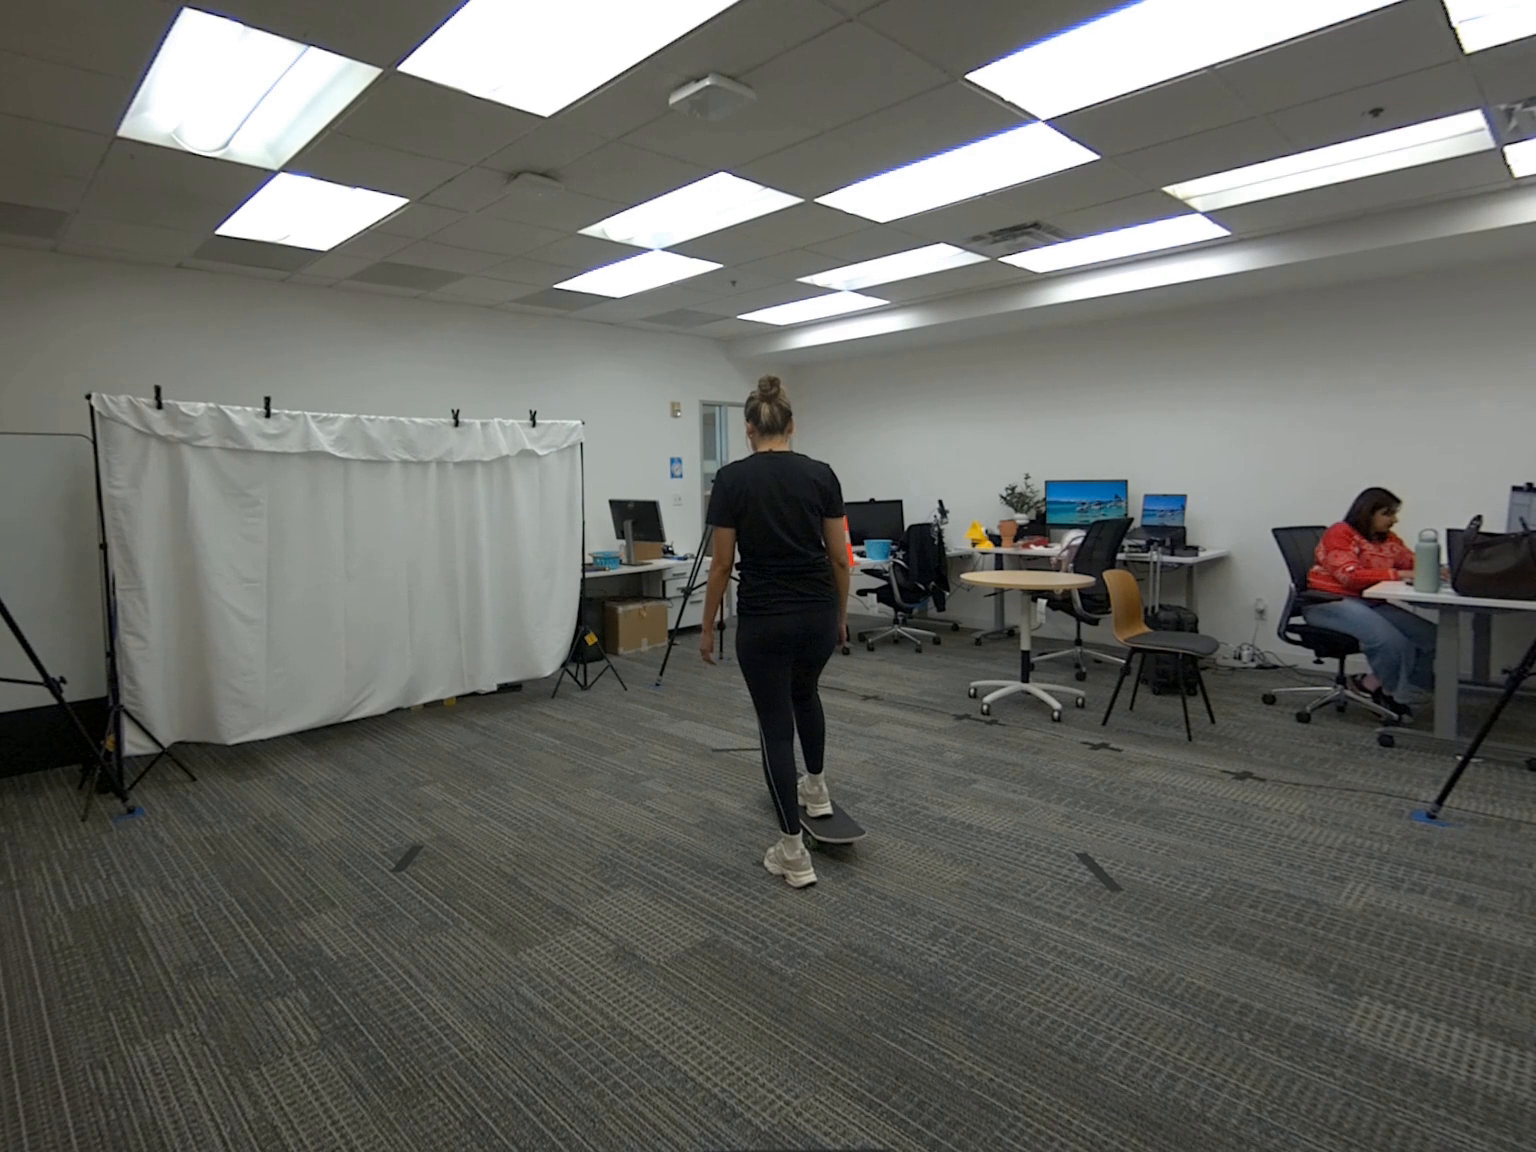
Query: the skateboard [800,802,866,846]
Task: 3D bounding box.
[{"bbox_3d":[0.183,0.955,3.437,0.190,0.110,0.801,-3,6,-17],"label":"skateboard"}]
